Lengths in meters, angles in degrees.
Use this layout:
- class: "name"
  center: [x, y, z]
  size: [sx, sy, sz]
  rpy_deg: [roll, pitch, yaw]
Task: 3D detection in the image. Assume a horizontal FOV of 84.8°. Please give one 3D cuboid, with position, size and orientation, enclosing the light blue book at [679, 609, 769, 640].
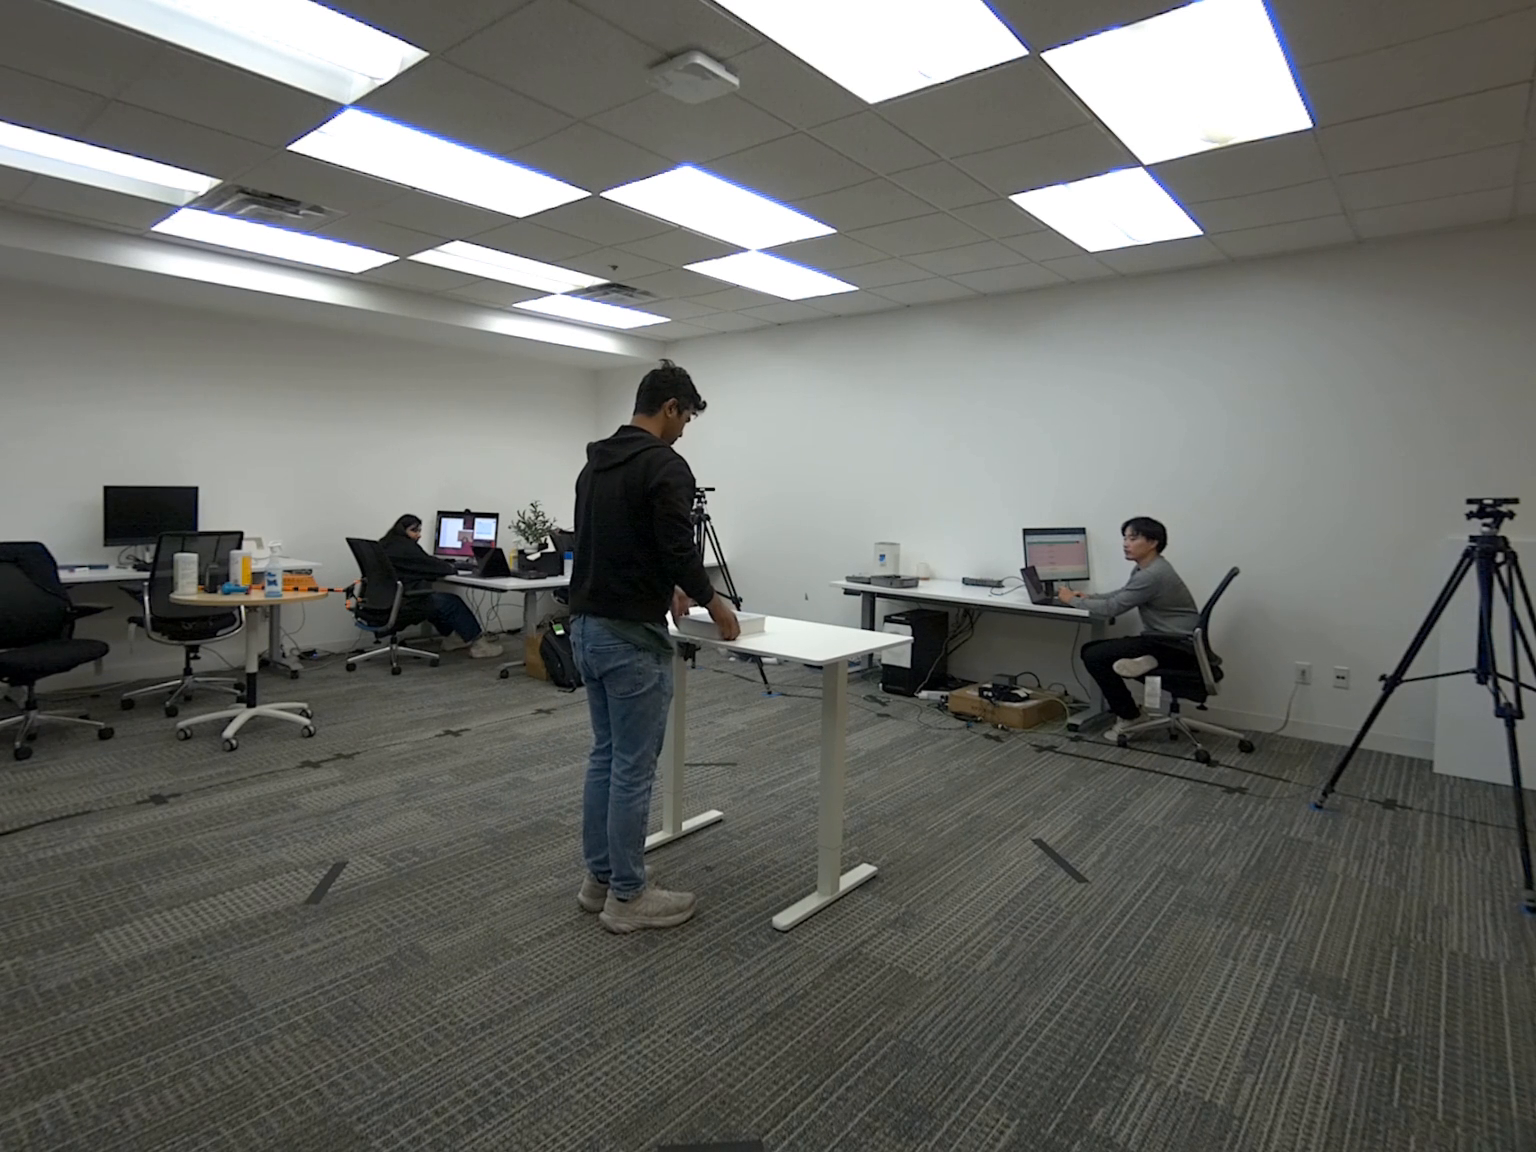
- class: "light blue book"
  center: [-0.157, 0.166, 2.994]
  size: [0.198, 0.059, 0.253]
  rpy_deg: [7, 8, 40]
